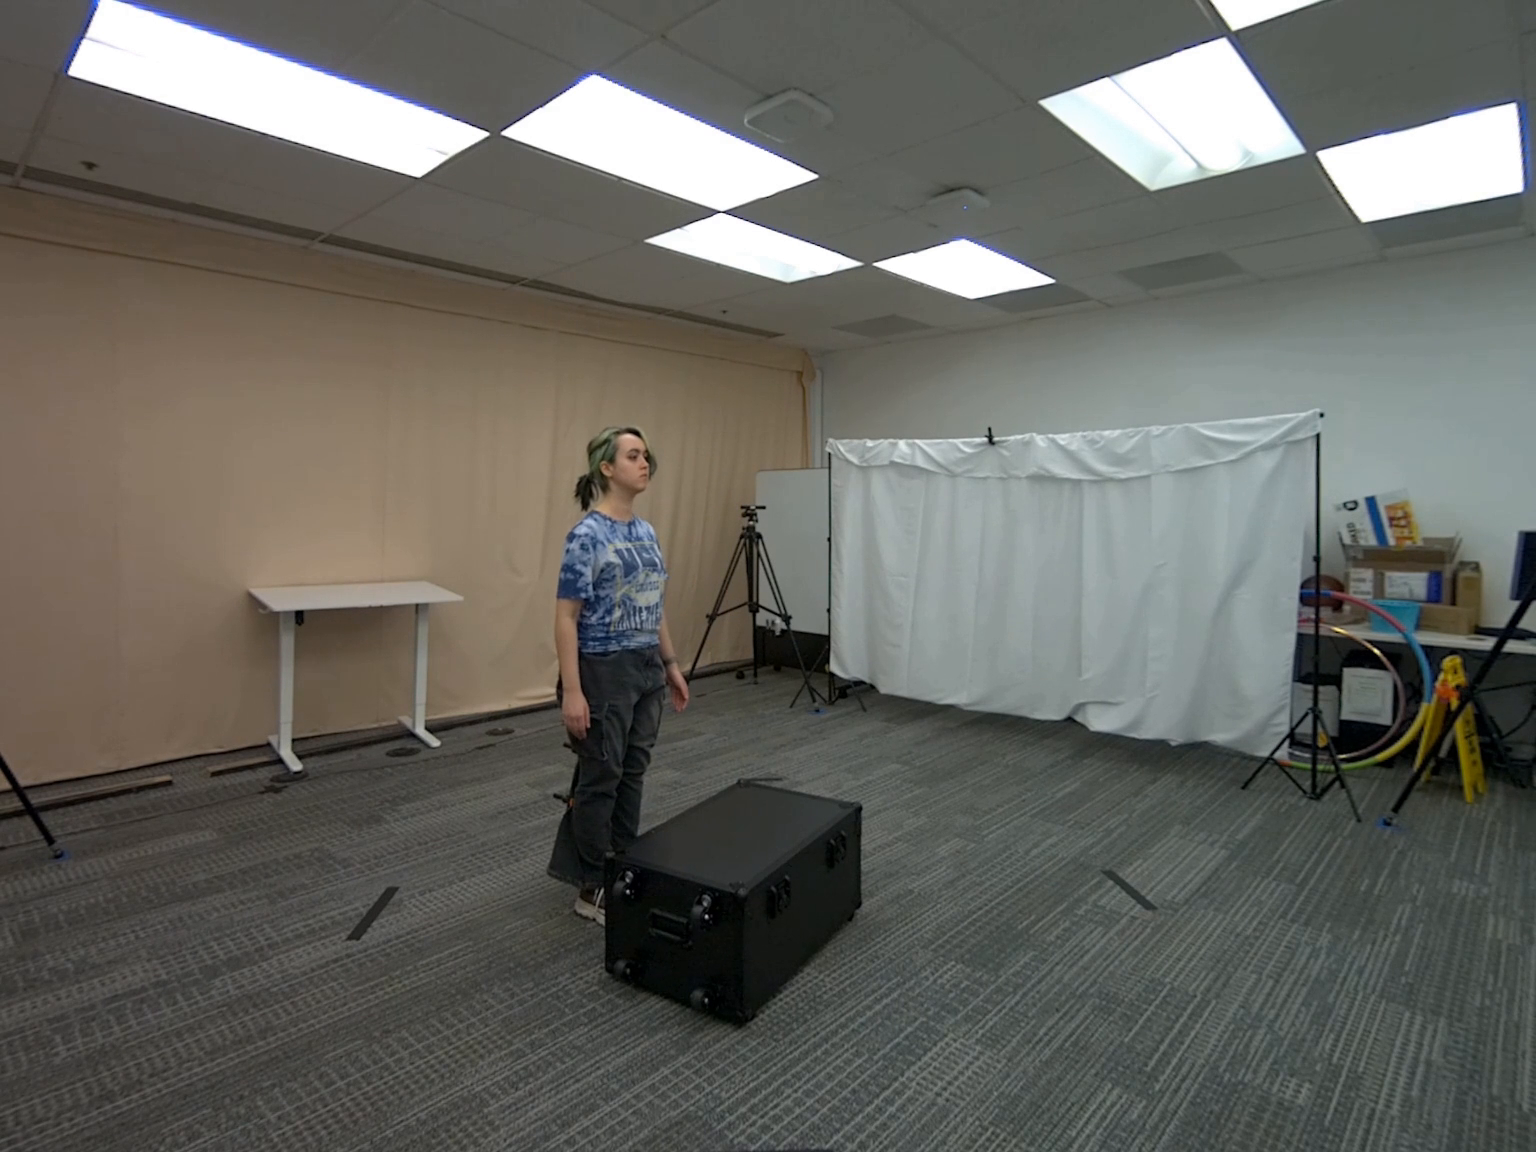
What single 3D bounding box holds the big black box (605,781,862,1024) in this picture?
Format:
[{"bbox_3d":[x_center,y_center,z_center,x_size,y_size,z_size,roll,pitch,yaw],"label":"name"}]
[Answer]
[{"bbox_3d":[-0.095,0.983,2.638,0.537,0.395,0.838,2,4,31],"label":"big black box"}]
